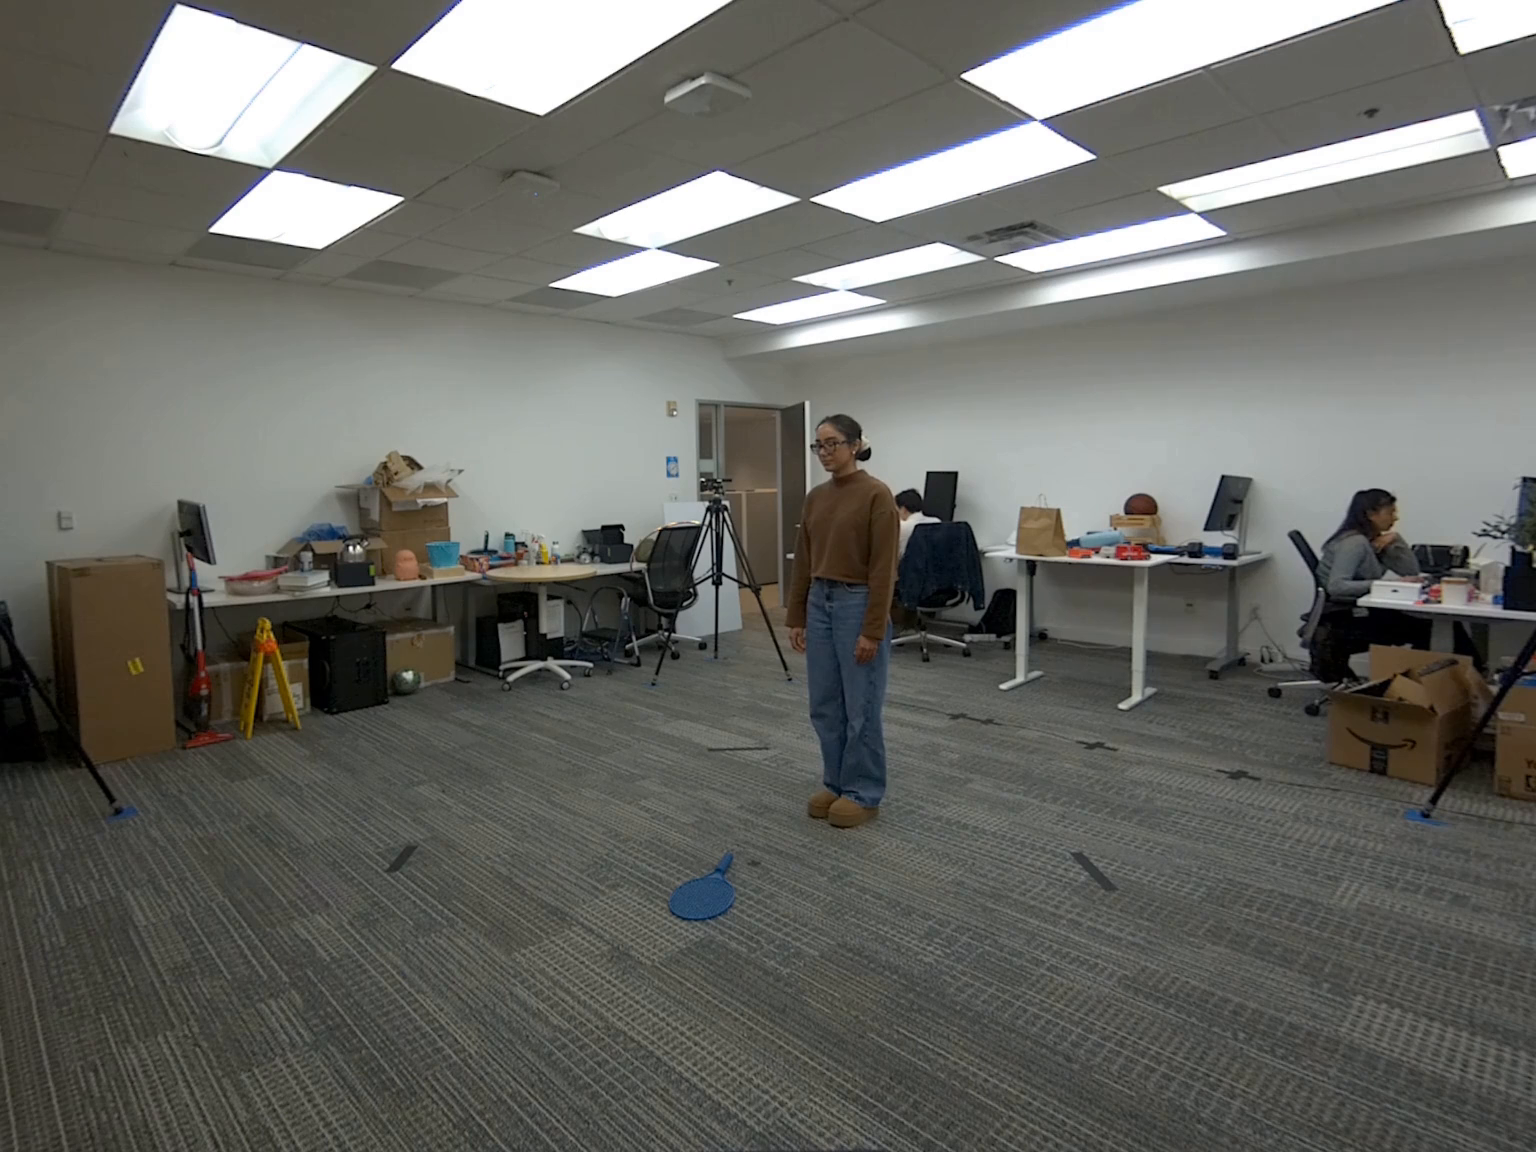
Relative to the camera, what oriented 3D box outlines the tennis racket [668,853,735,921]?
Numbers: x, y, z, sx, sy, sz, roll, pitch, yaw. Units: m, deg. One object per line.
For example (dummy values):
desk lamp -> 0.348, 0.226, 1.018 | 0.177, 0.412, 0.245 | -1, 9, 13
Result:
tennis racket -> -0.192, 1.055, 2.915 | 0.217, 0.031, 0.428 | 1, 8, 16
